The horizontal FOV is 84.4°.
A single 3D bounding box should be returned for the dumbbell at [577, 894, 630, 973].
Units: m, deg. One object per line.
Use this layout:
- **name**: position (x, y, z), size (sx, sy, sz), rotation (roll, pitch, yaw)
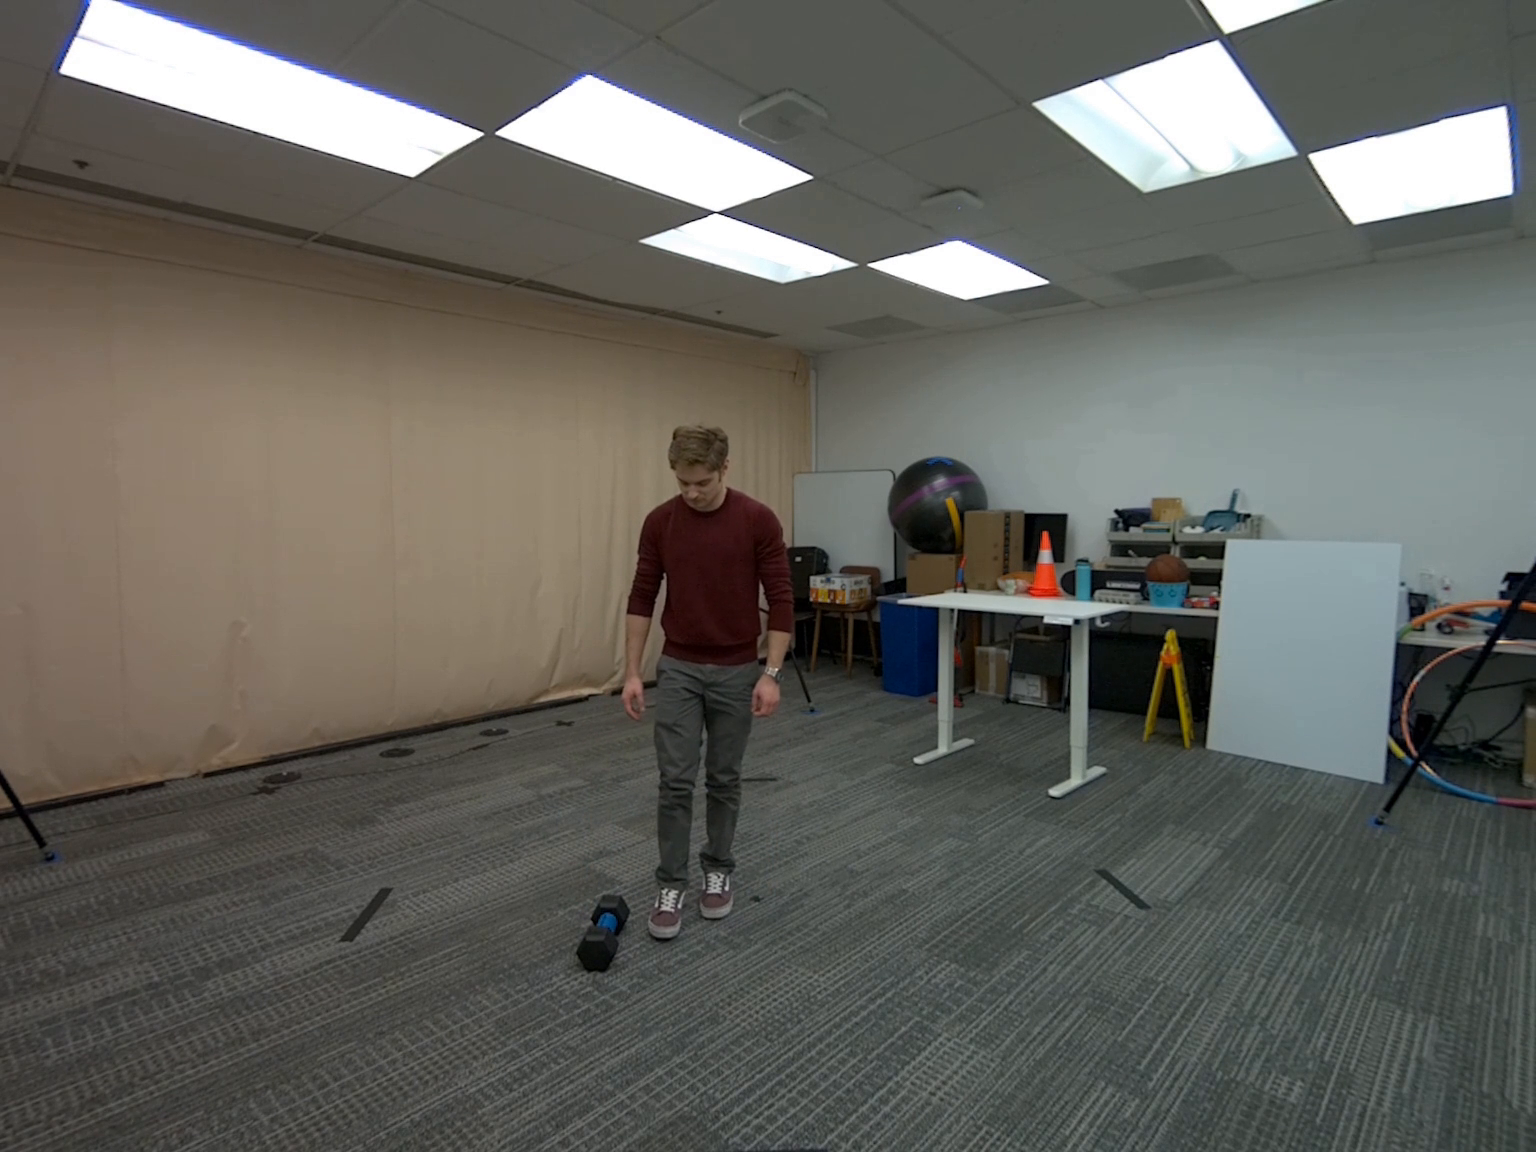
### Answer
- **dumbbell**: position (-0.515, 1.123, 2.651), size (0.109, 0.123, 0.293), rotation (30, 4, -2)
